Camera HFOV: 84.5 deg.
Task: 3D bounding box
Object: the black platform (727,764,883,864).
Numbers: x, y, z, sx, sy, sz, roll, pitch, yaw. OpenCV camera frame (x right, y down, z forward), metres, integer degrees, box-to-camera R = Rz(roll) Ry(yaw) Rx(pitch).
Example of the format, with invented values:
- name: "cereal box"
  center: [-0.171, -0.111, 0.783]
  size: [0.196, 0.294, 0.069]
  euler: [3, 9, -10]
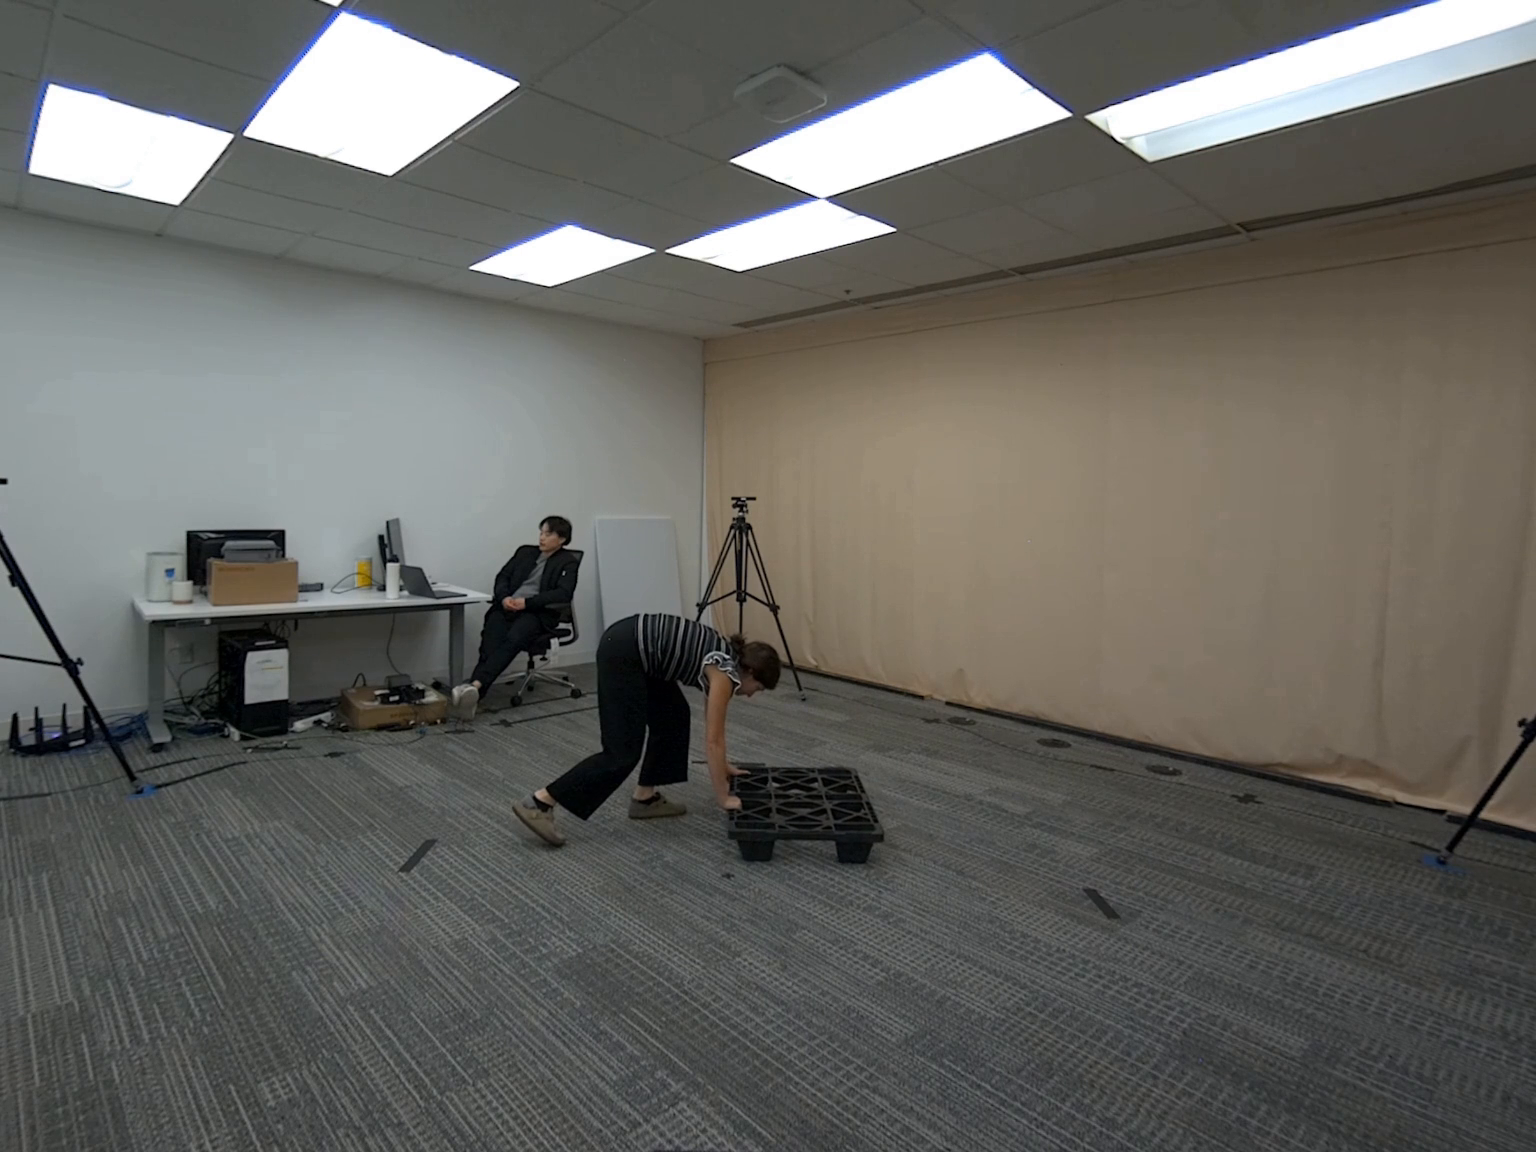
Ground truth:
- name: "black platform"
  center: [0.120, 1.002, 3.594]
  size: [0.605, 0.143, 0.809]
  euler: [2, 5, -2]
